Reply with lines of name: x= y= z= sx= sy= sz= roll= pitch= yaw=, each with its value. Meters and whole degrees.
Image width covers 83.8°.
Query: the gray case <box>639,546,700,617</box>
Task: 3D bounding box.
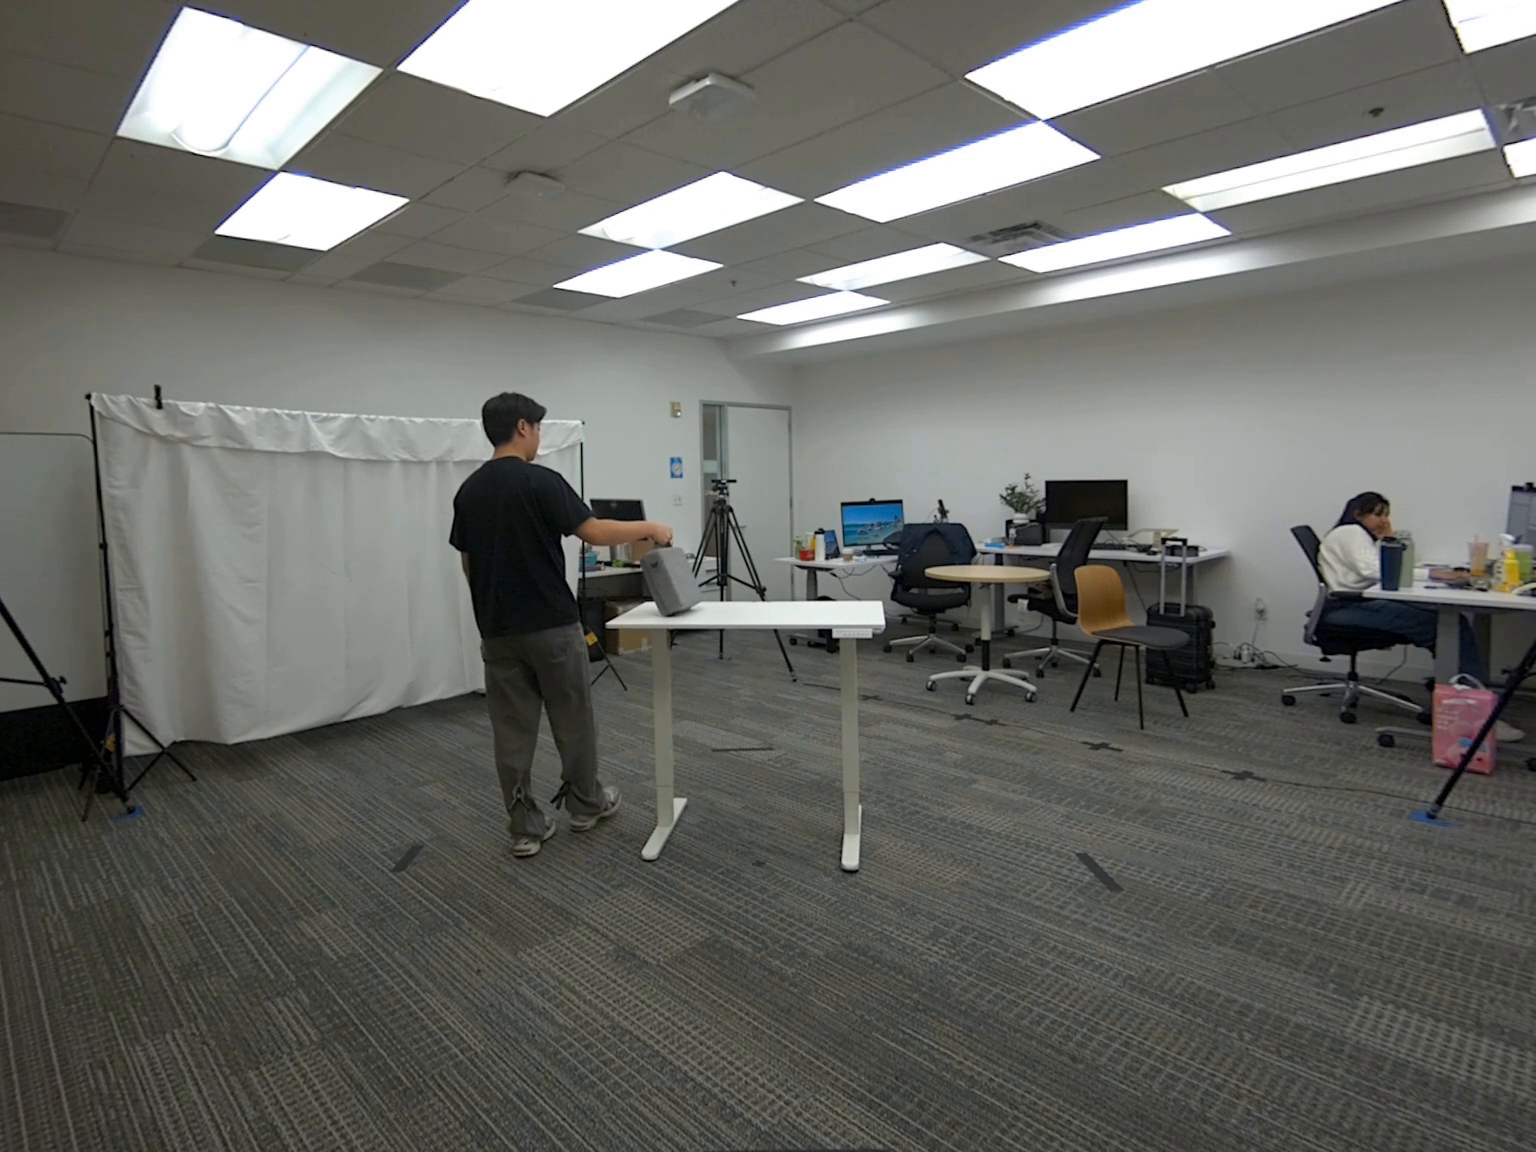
gray case: x=-0.377 y=0.003 z=3.353 sx=0.104 sy=0.288 sz=0.259 roll=-20 pitch=-3 yaw=17
